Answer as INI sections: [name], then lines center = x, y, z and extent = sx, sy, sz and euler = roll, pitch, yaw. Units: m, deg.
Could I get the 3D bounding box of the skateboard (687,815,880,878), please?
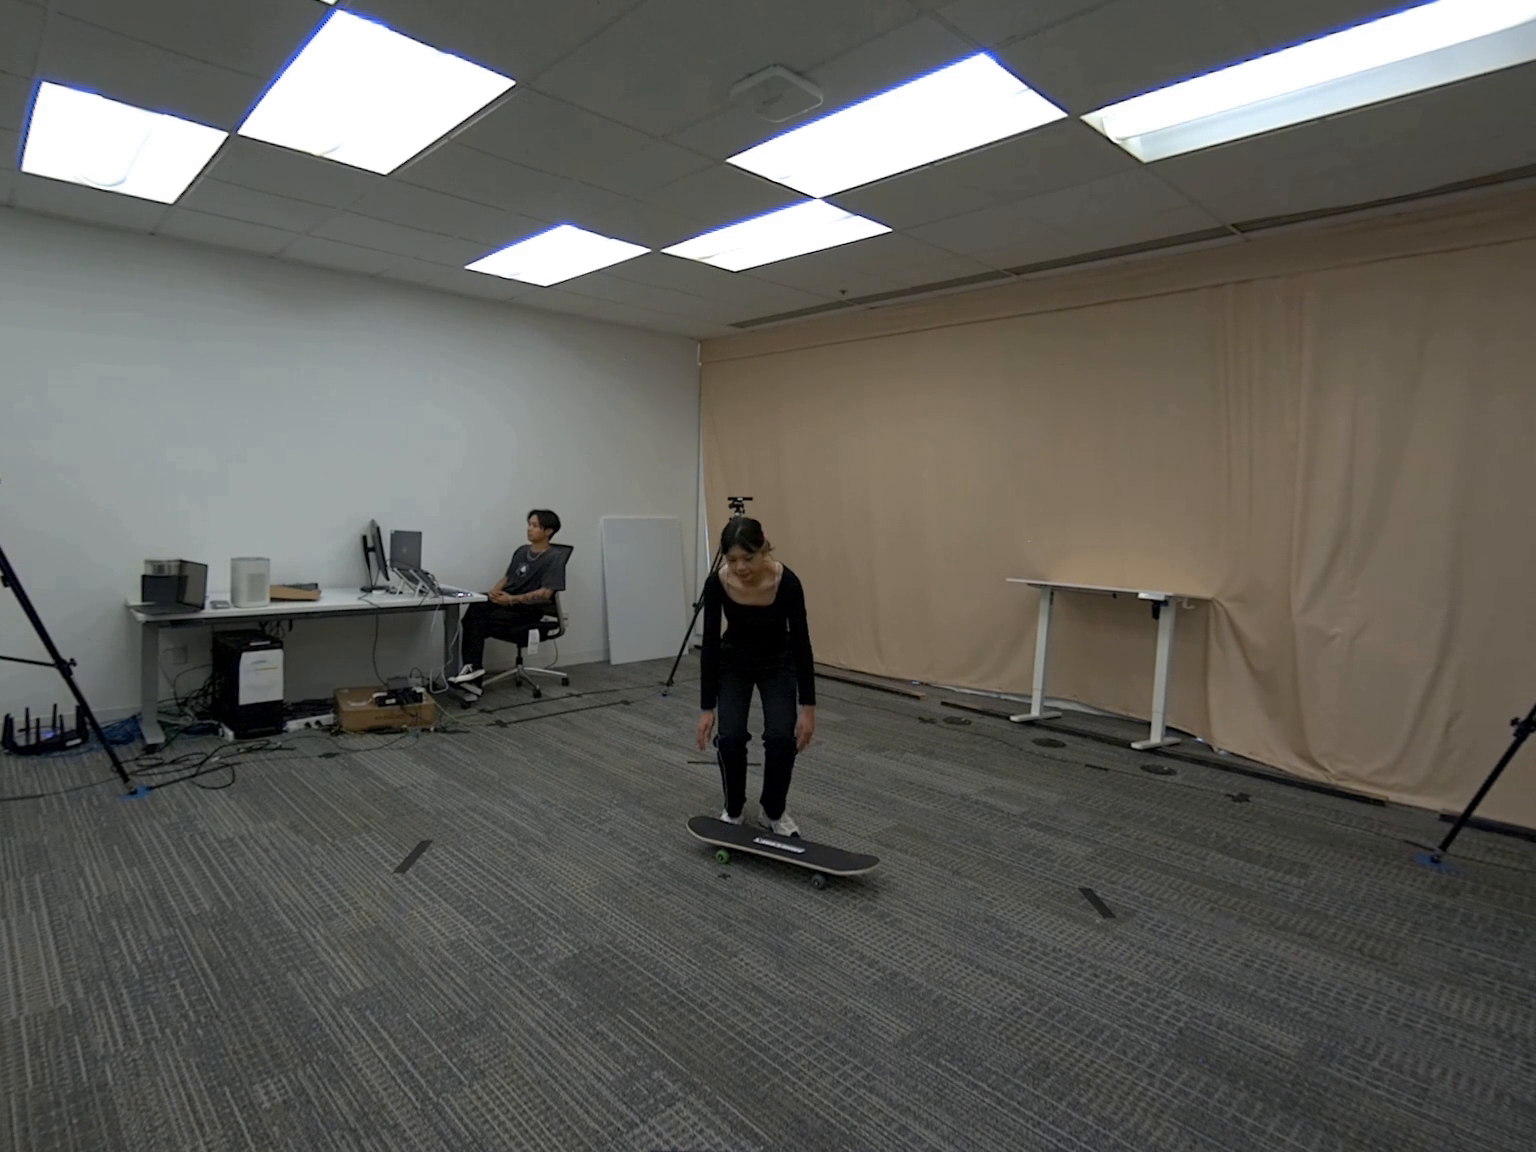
[skateboard]
center = 0.031, 1.046, 3.181
extent = 0.802, 0.110, 0.190
euler = 4, 5, 29
